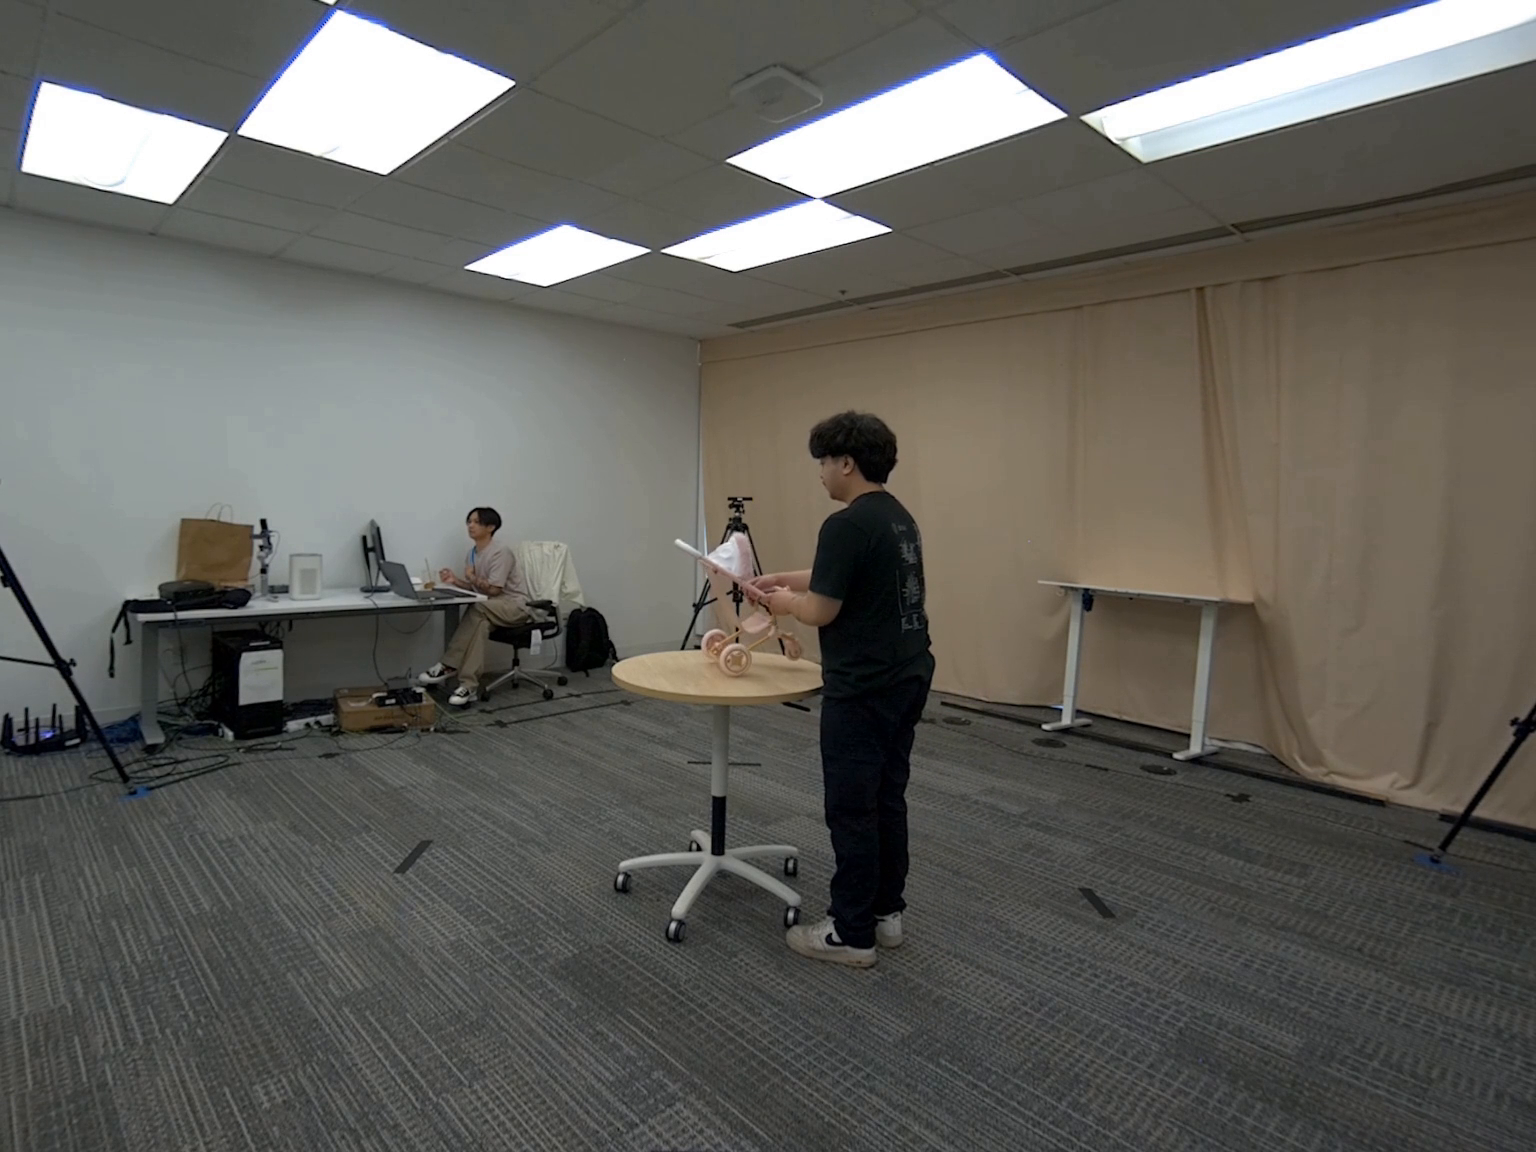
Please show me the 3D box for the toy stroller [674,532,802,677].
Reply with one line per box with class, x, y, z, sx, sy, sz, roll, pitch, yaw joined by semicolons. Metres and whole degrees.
toy stroller;-0.097;0.087;2.933;0.339;0.530;0.285;-16;9;-11
